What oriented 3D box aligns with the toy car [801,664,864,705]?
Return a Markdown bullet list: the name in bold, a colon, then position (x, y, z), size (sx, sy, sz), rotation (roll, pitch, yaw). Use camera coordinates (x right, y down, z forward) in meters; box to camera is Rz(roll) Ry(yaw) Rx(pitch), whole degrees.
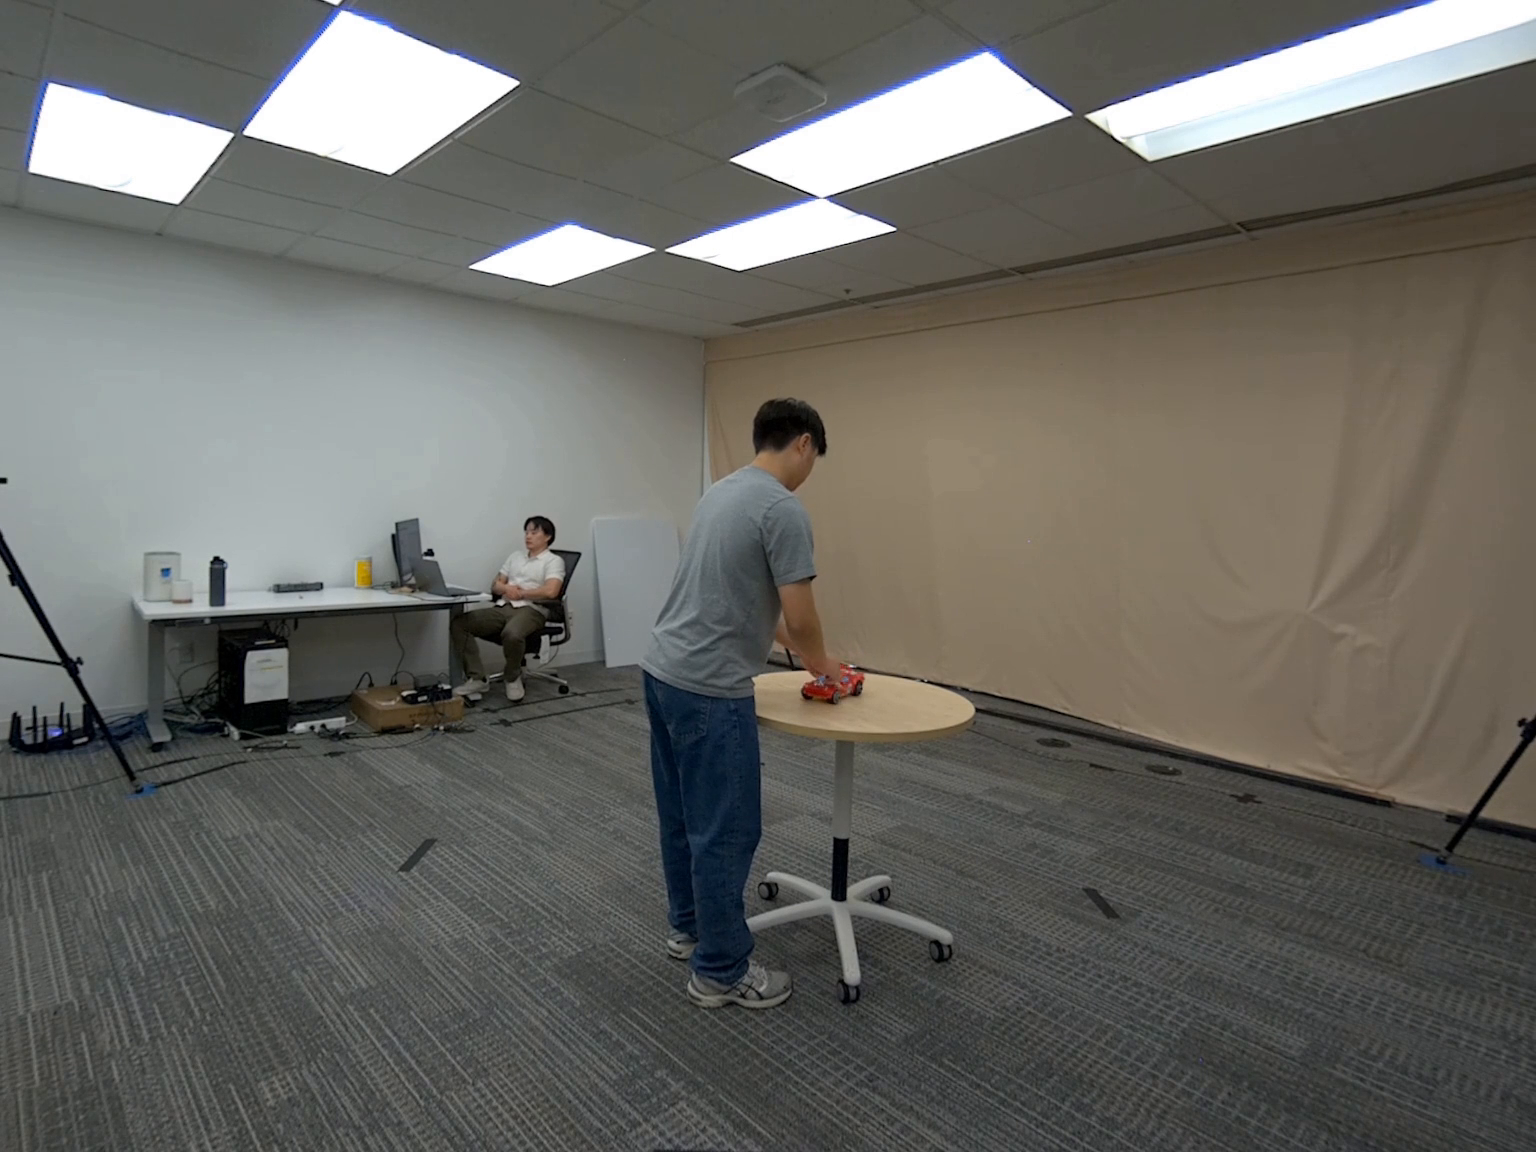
- **toy car**: position (0.216, 0.347, 2.616), size (0.133, 0.082, 0.251), rotation (5, 17, 31)
